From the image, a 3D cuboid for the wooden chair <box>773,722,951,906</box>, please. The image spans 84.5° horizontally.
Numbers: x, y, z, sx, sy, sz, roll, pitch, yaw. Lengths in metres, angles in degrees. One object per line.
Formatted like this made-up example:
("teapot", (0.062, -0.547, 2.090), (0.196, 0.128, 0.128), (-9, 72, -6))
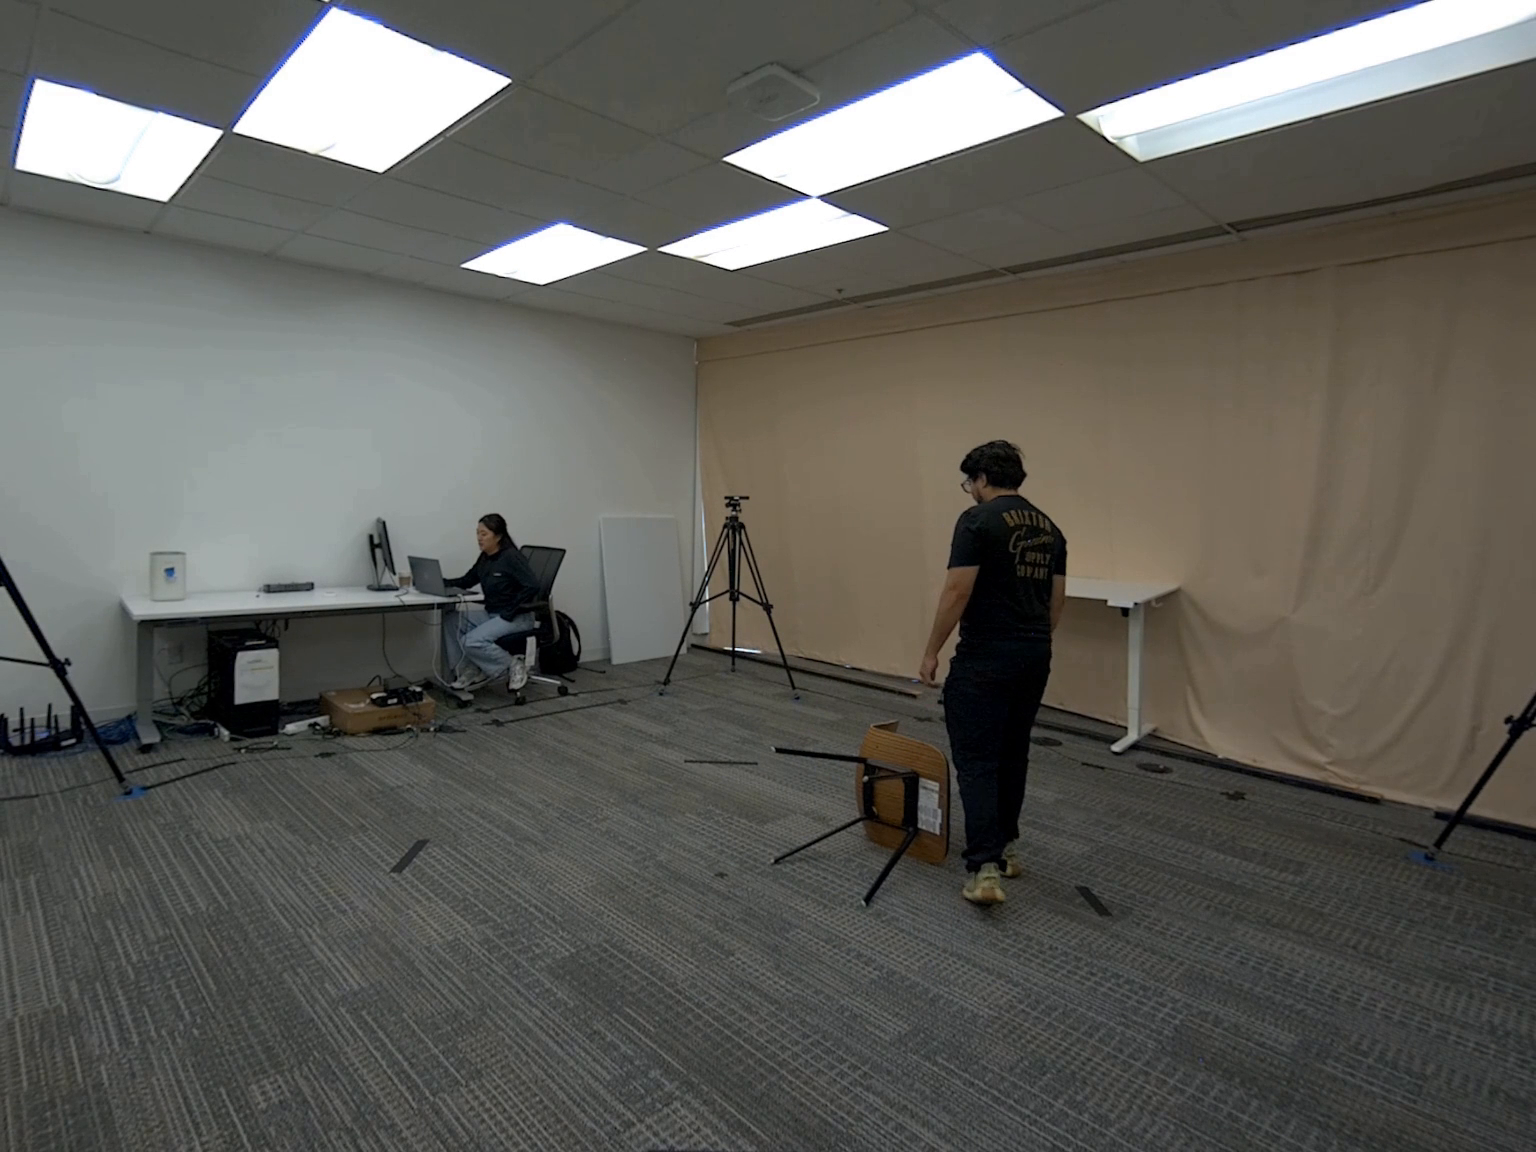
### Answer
("wooden chair", (0.473, 0.868, 3.319), (0.536, 0.477, 0.858), (4, 5, 41))
